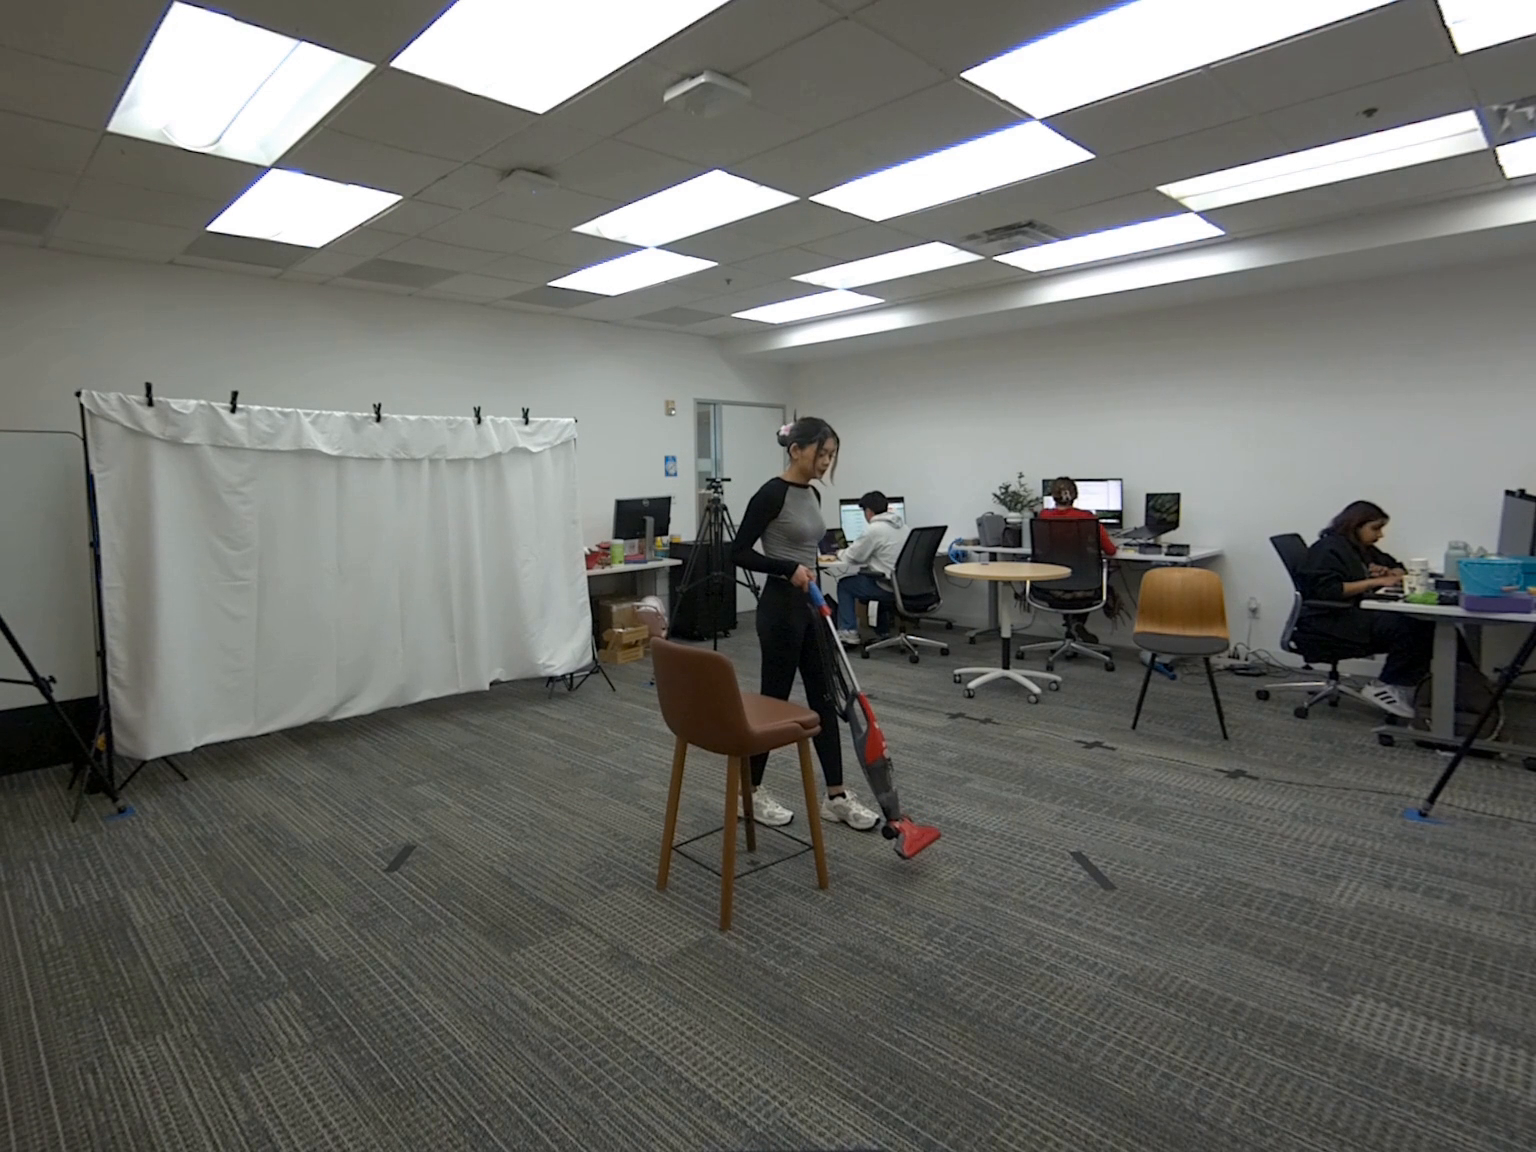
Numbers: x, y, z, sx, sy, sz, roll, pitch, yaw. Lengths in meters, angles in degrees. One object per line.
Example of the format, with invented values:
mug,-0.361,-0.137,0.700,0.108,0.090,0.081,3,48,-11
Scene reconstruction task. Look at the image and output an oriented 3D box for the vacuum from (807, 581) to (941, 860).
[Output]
vacuum,0.318,0.452,3.136,0.145,1.066,0.246,-32,-16,38
